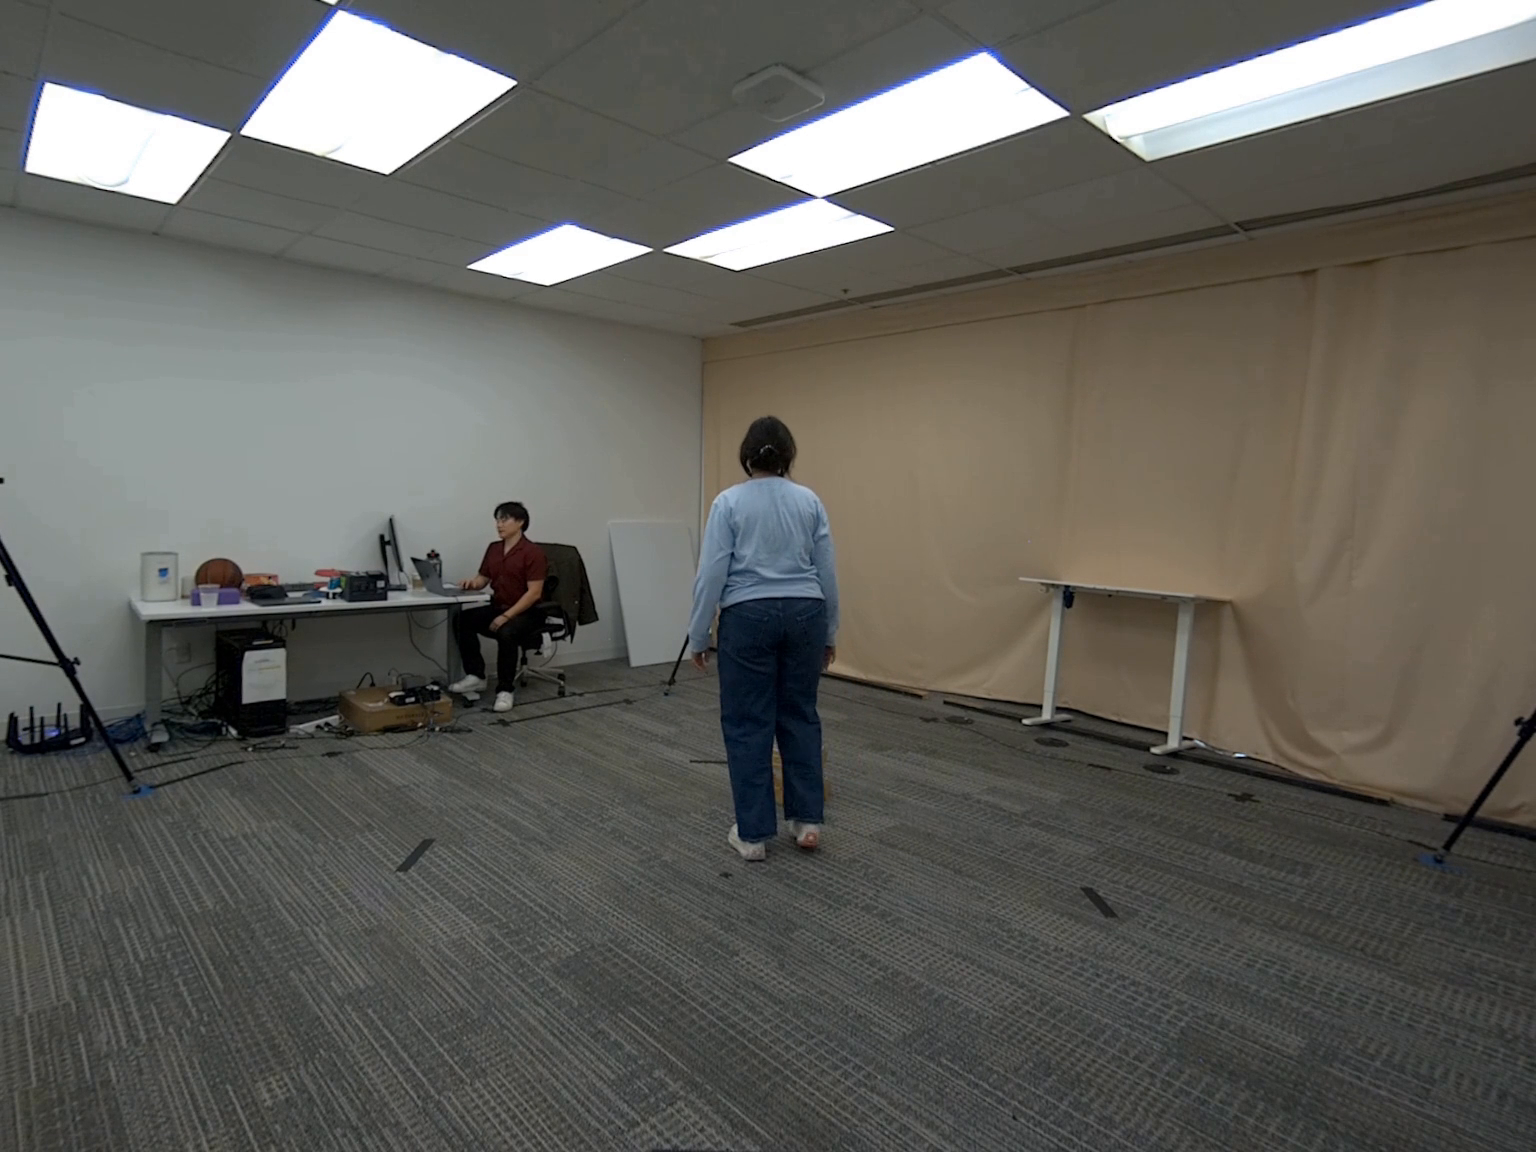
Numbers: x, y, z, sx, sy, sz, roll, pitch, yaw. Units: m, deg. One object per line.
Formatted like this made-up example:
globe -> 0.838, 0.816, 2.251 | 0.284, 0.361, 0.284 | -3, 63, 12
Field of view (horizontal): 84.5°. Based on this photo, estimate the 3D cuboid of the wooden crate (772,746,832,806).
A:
wooden crate -> 0.107, 0.913, 3.947 | 0.330, 0.272, 0.297 | 3, 5, 22
